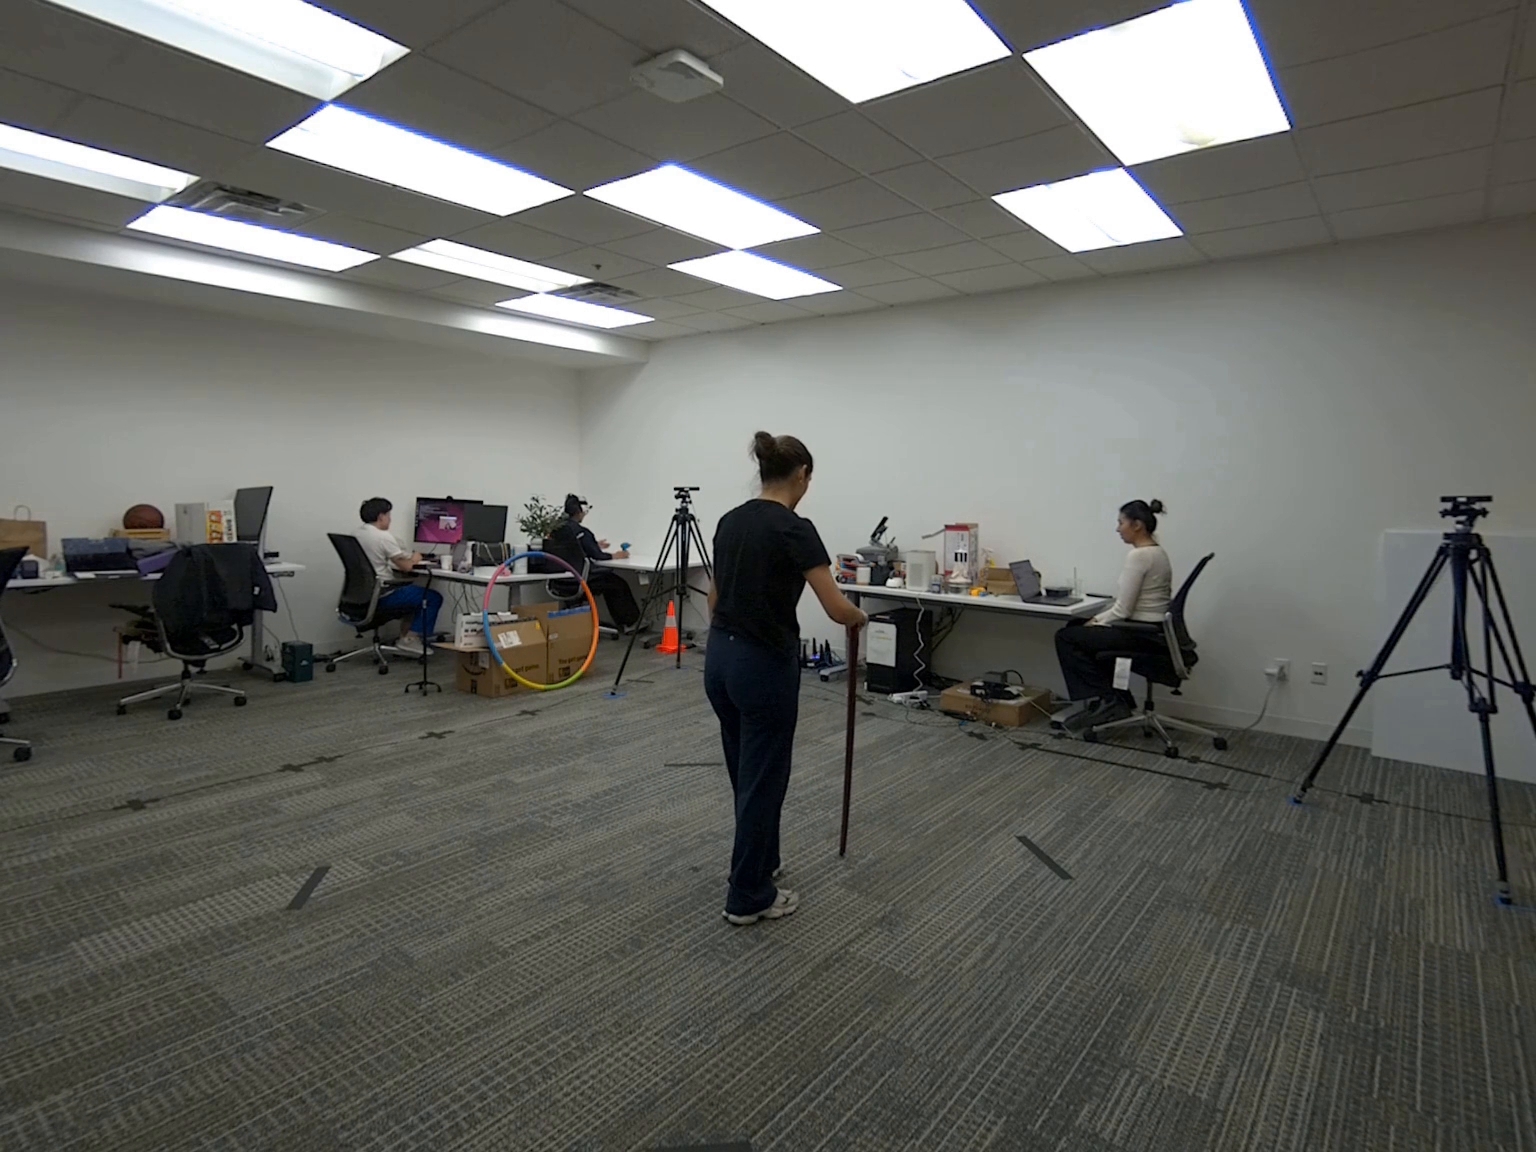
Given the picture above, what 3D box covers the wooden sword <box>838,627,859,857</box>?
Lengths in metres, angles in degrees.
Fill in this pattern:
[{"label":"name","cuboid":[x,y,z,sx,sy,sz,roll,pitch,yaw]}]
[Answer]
[{"label":"wooden sword","cuboid":[0.305,0.597,3.048,0.051,1.004,0.024,4,23,4]}]
